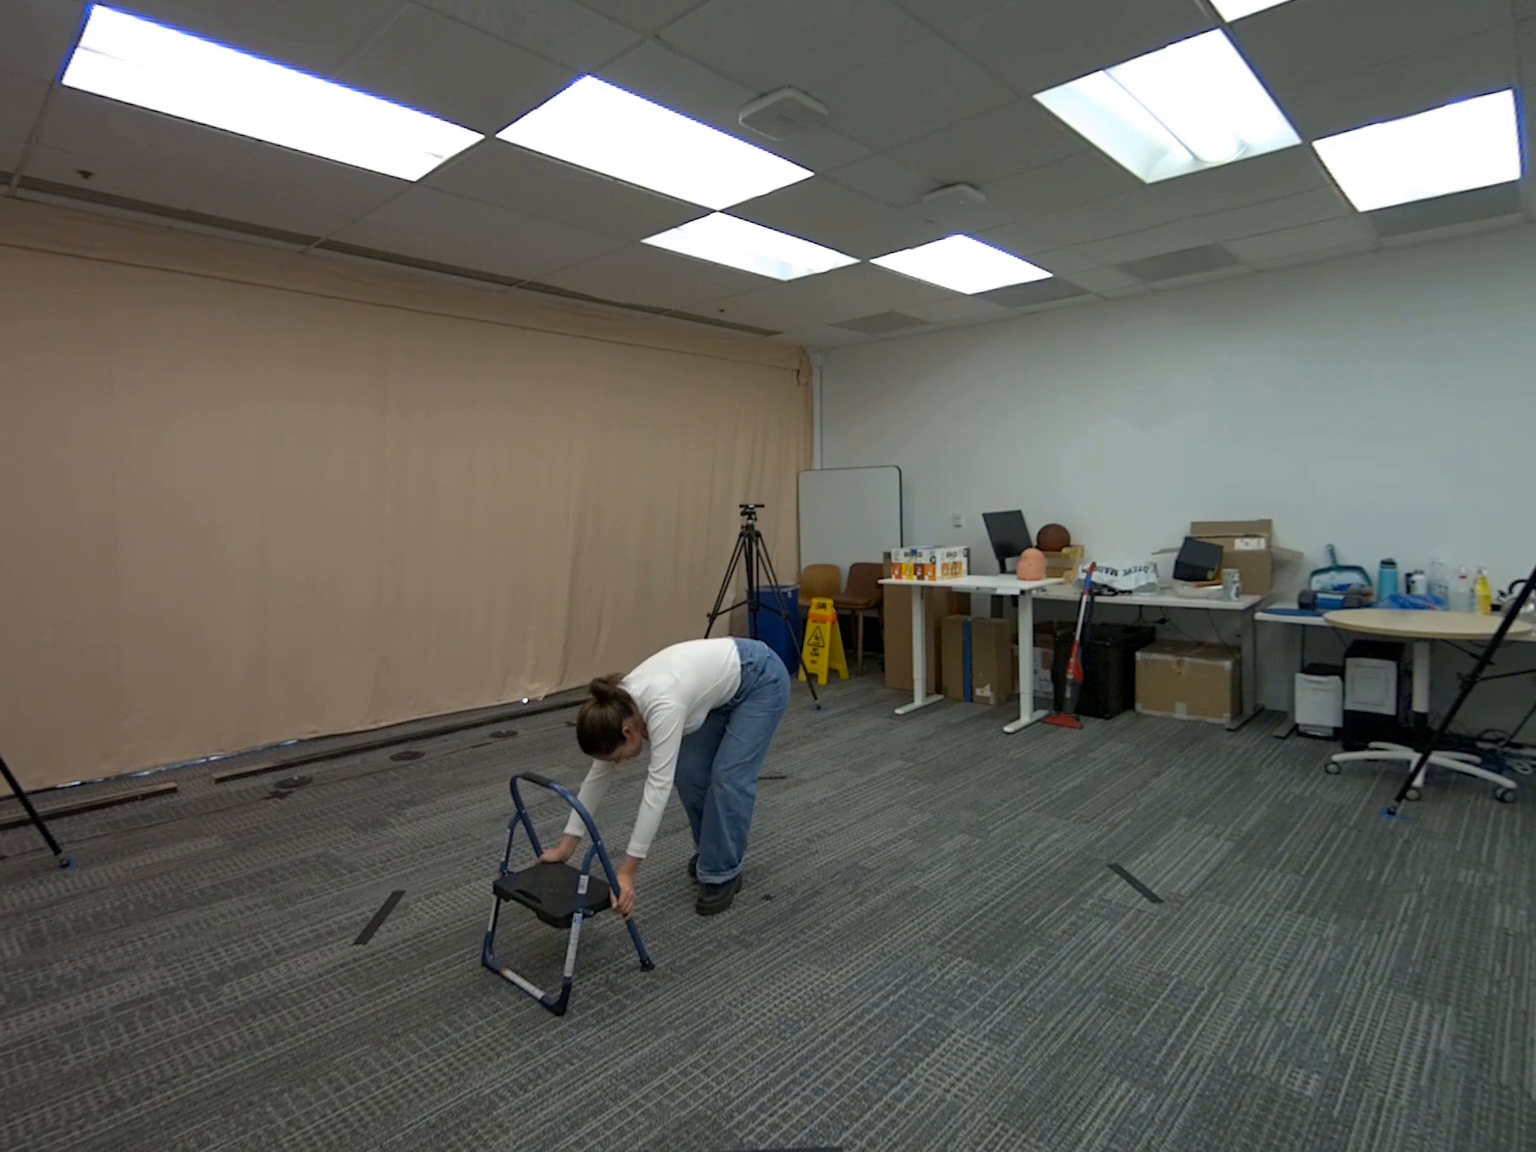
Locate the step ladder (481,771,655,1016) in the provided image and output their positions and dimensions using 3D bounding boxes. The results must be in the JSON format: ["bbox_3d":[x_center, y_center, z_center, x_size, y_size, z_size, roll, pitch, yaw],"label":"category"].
[{"bbox_3d":[-0.622,0.889,2.550,0.445,0.605,0.339,2,5,41],"label":"step ladder"}]
